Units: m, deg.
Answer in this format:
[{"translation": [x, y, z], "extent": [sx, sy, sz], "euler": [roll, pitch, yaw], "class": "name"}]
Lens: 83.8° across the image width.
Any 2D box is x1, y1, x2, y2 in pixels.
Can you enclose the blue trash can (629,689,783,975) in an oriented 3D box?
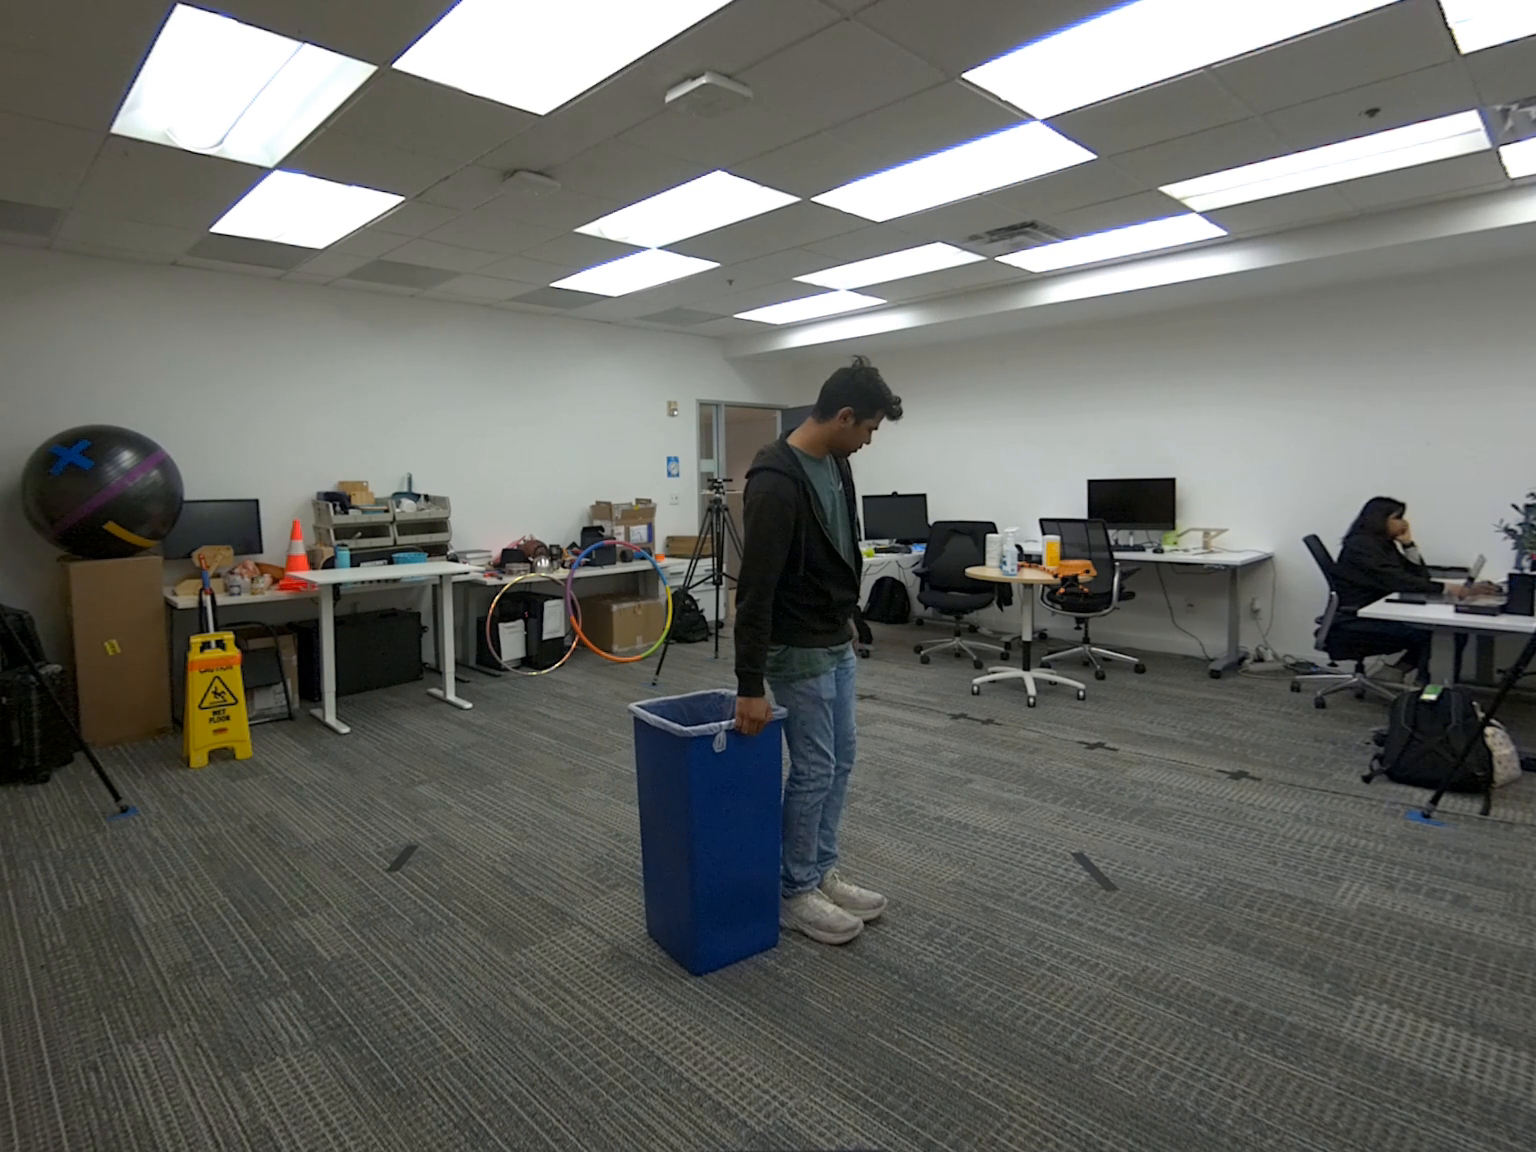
[{"translation": [-0.173, 0.745, 2.589], "extent": [0.365, 0.711, 0.389], "euler": [-5, 4, -35], "class": "blue trash can"}]
